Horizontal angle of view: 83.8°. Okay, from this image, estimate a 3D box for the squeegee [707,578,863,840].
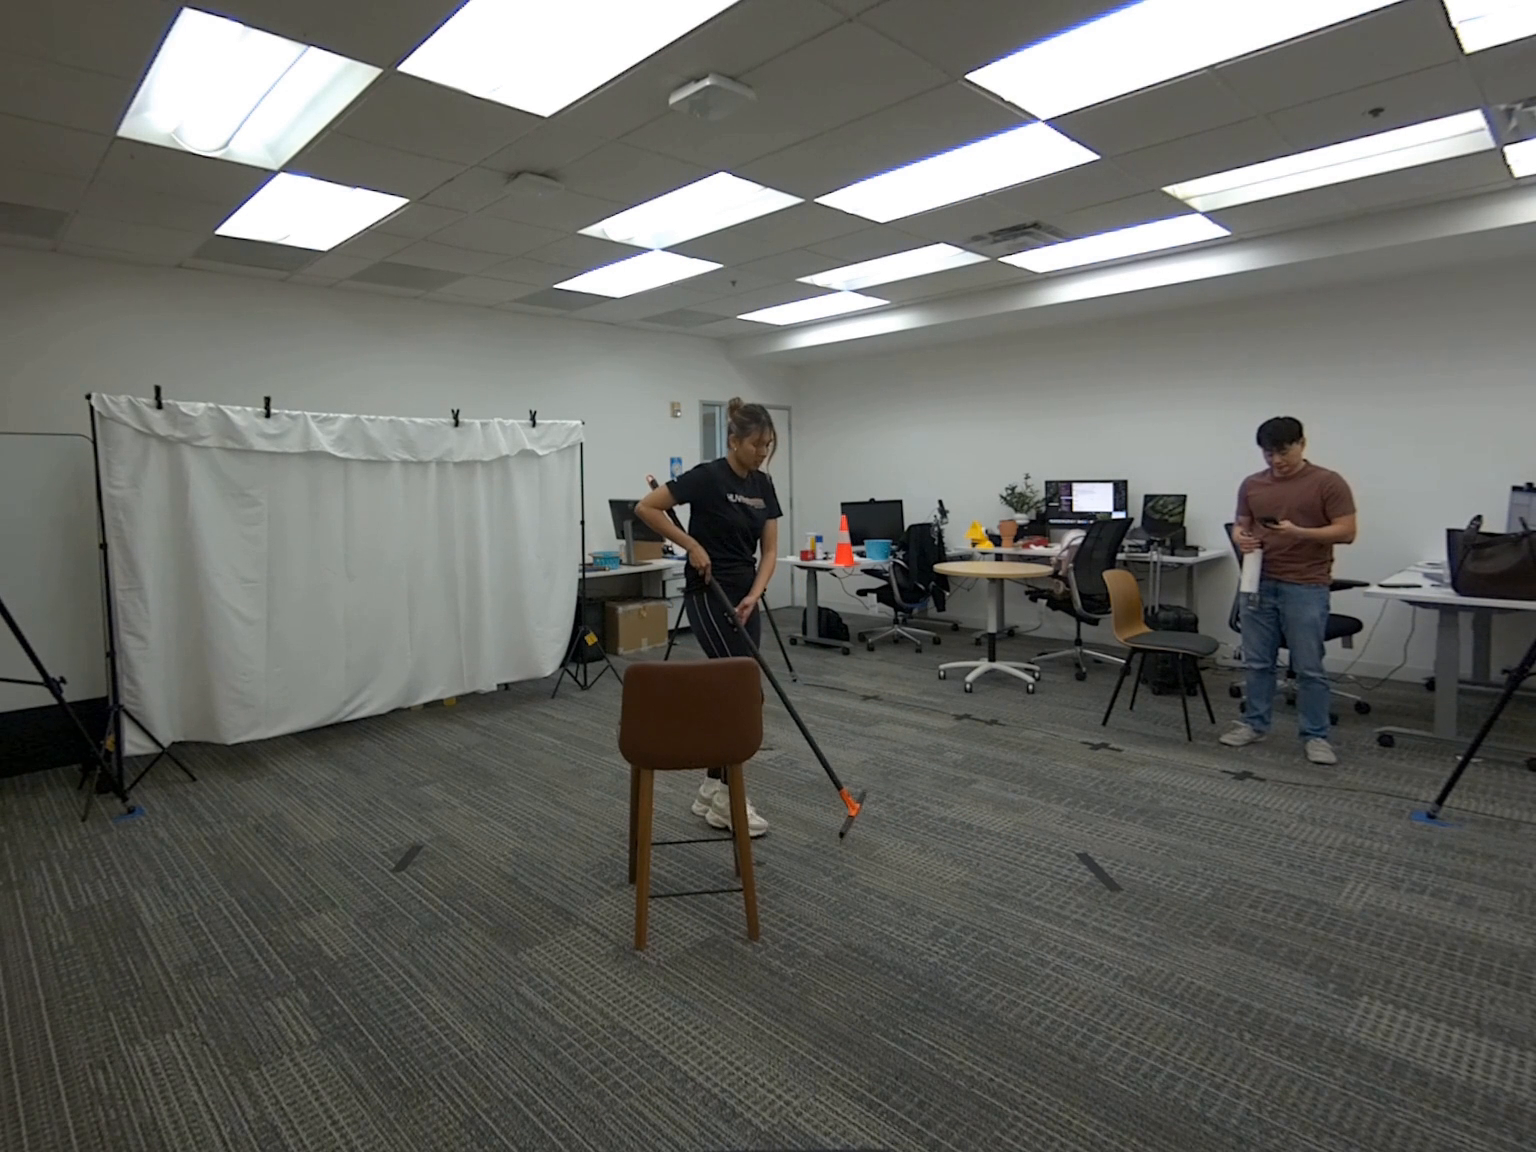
[{"bbox_3d":[-0.064,0.272,3.288,0.053,1.556,0.430,-37,-9,17],"label":"squeegee"}]
